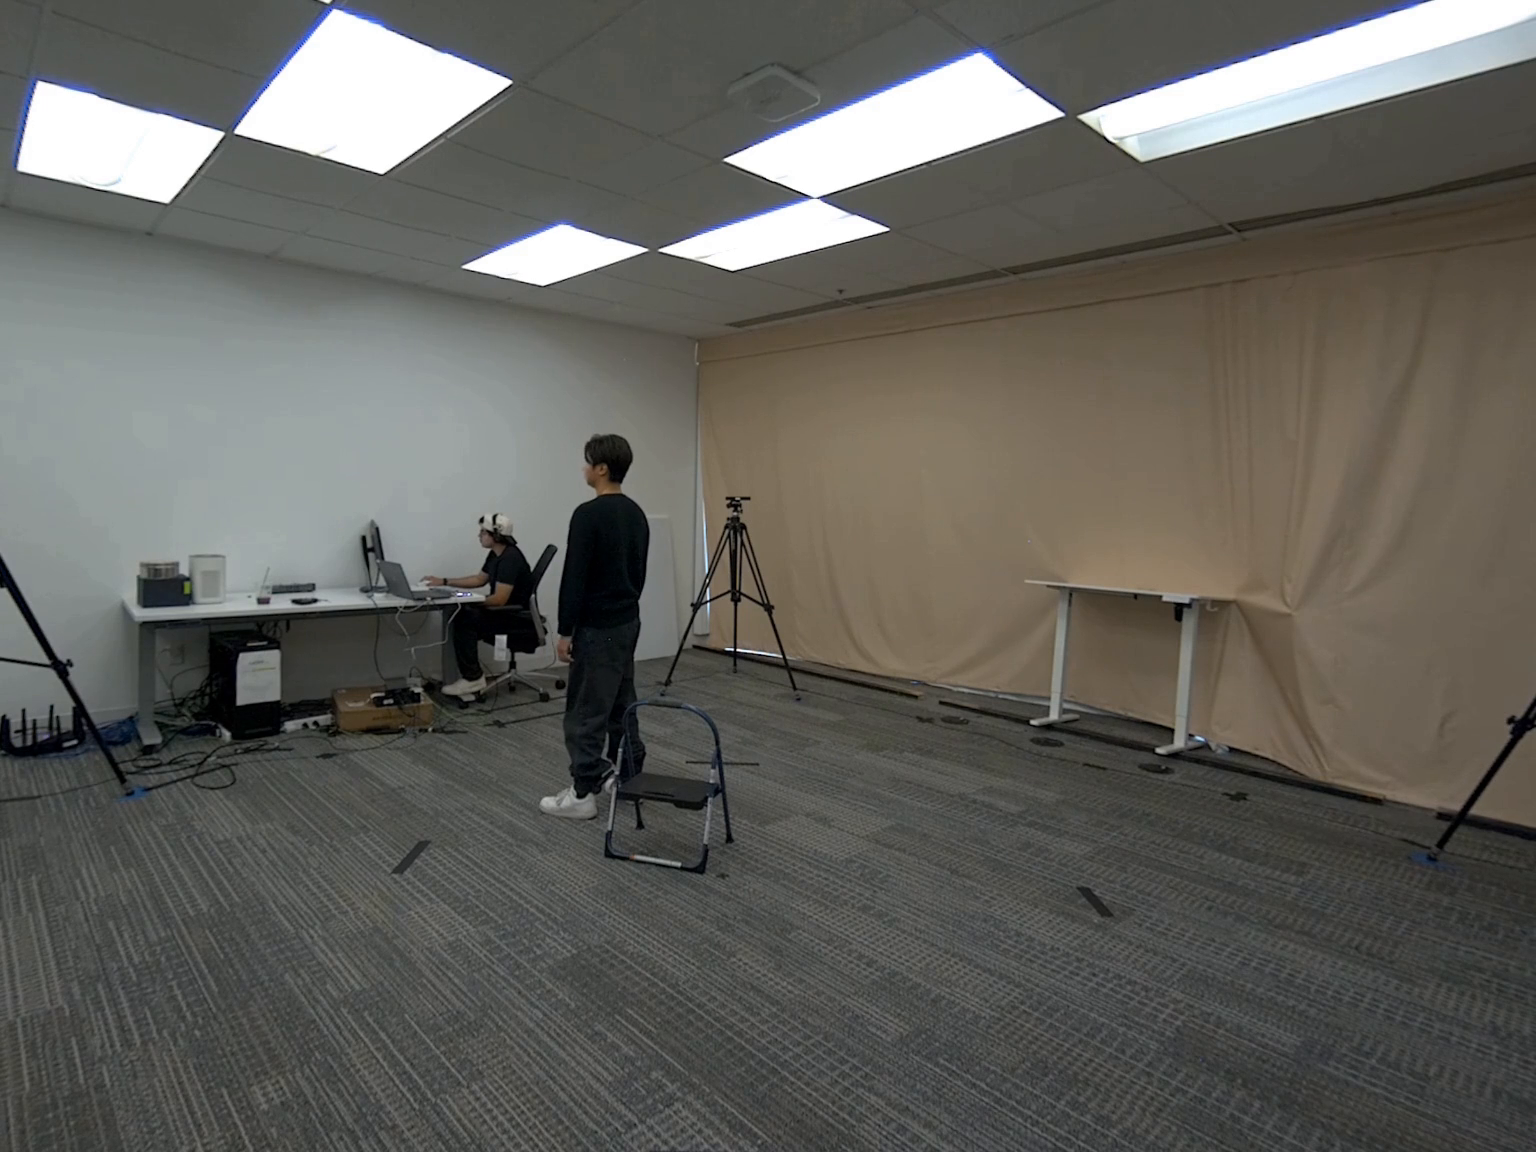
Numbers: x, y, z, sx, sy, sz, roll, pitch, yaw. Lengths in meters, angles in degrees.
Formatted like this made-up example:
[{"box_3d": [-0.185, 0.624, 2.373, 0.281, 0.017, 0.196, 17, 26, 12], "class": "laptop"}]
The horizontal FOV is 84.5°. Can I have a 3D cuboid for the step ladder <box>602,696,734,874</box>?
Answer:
[{"box_3d": [-0.386, 0.780, 3.320, 0.437, 0.605, 0.345, 2, 3, 17], "class": "step ladder"}]
